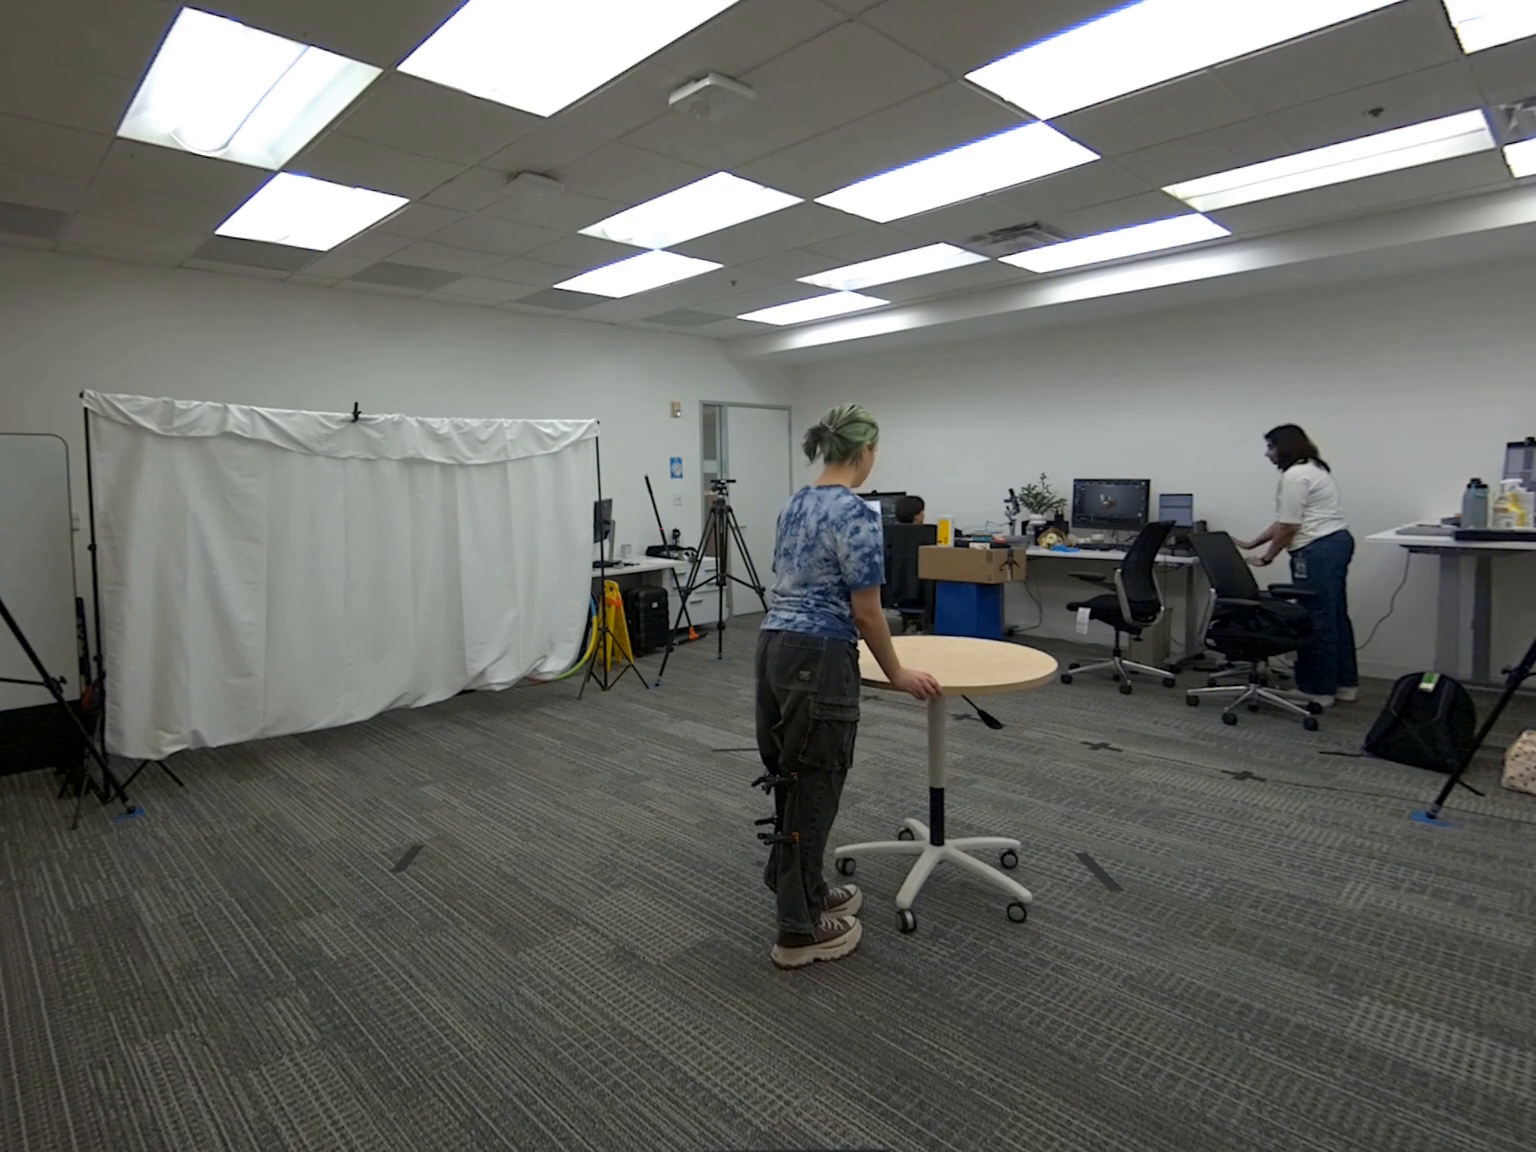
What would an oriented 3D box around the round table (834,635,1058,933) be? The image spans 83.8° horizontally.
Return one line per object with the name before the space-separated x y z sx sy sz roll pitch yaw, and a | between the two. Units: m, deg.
round table | 0.577 0.670 2.903 0.763 0.791 0.768 -1 5 -2
